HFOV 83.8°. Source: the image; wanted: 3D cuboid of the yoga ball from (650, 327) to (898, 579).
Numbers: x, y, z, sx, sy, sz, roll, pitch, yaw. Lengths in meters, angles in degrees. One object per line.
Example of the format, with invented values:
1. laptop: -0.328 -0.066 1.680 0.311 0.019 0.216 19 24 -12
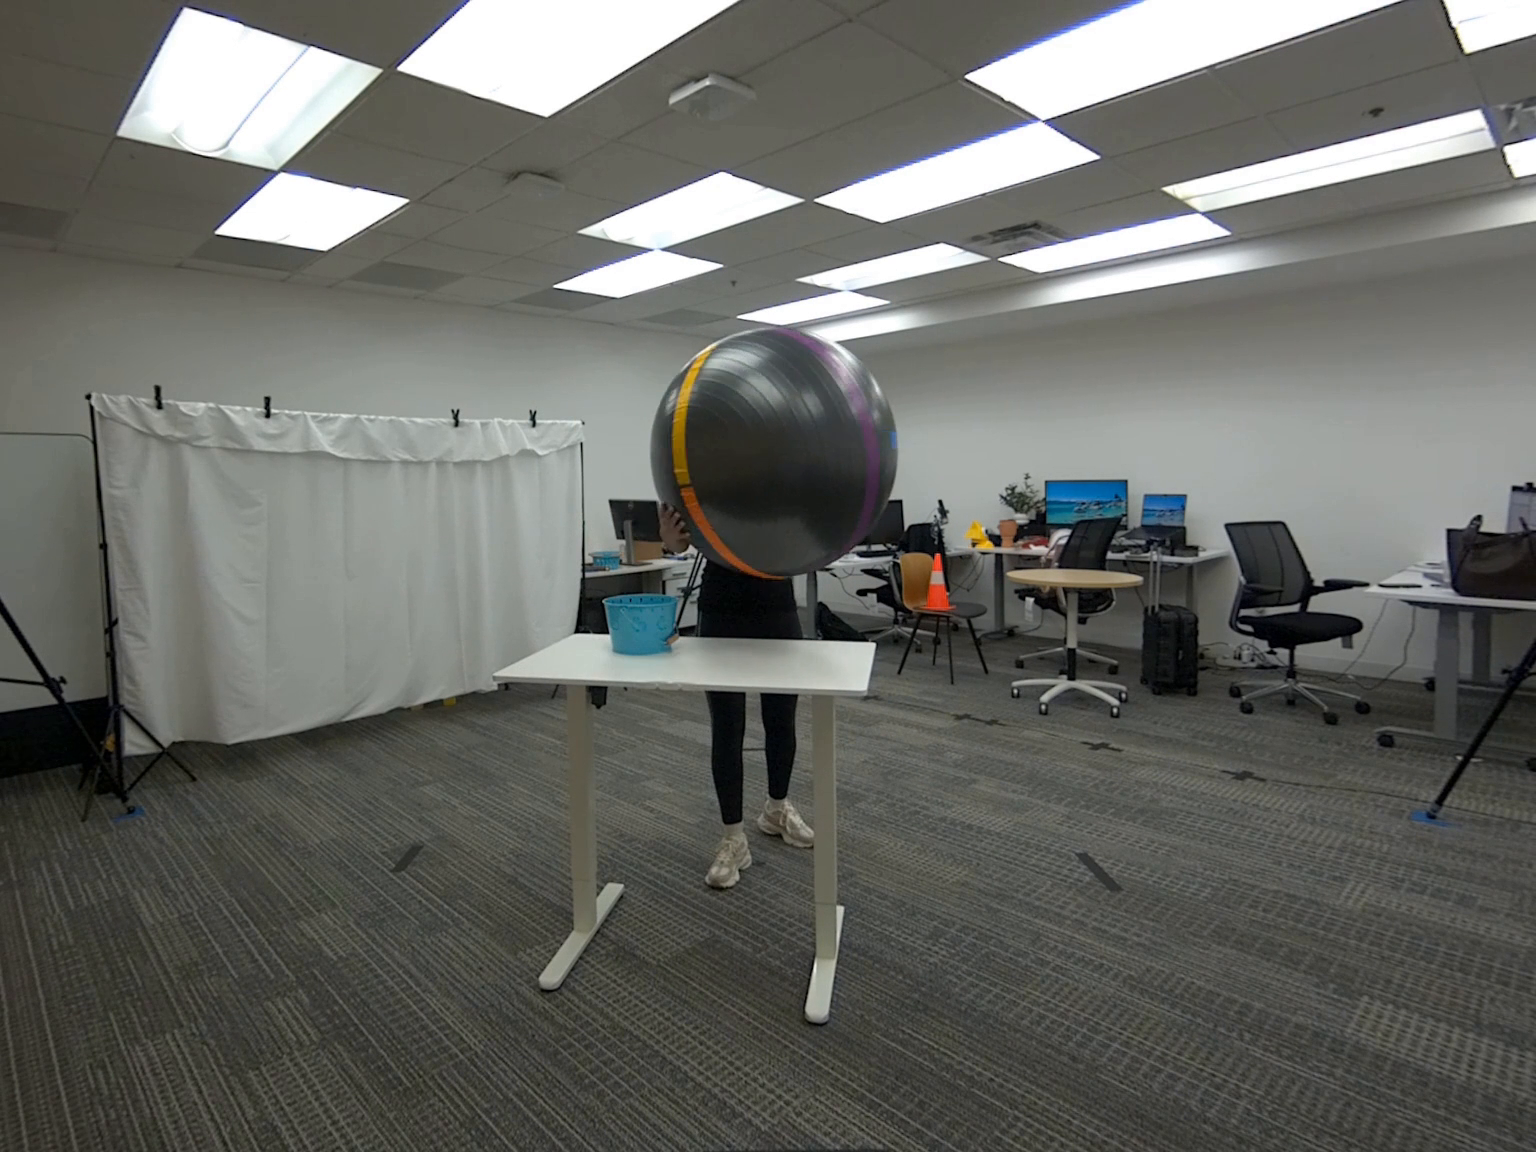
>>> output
1. yoga ball: 0.017 -0.371 2.620 0.757 0.755 0.762 -1 5 -2
